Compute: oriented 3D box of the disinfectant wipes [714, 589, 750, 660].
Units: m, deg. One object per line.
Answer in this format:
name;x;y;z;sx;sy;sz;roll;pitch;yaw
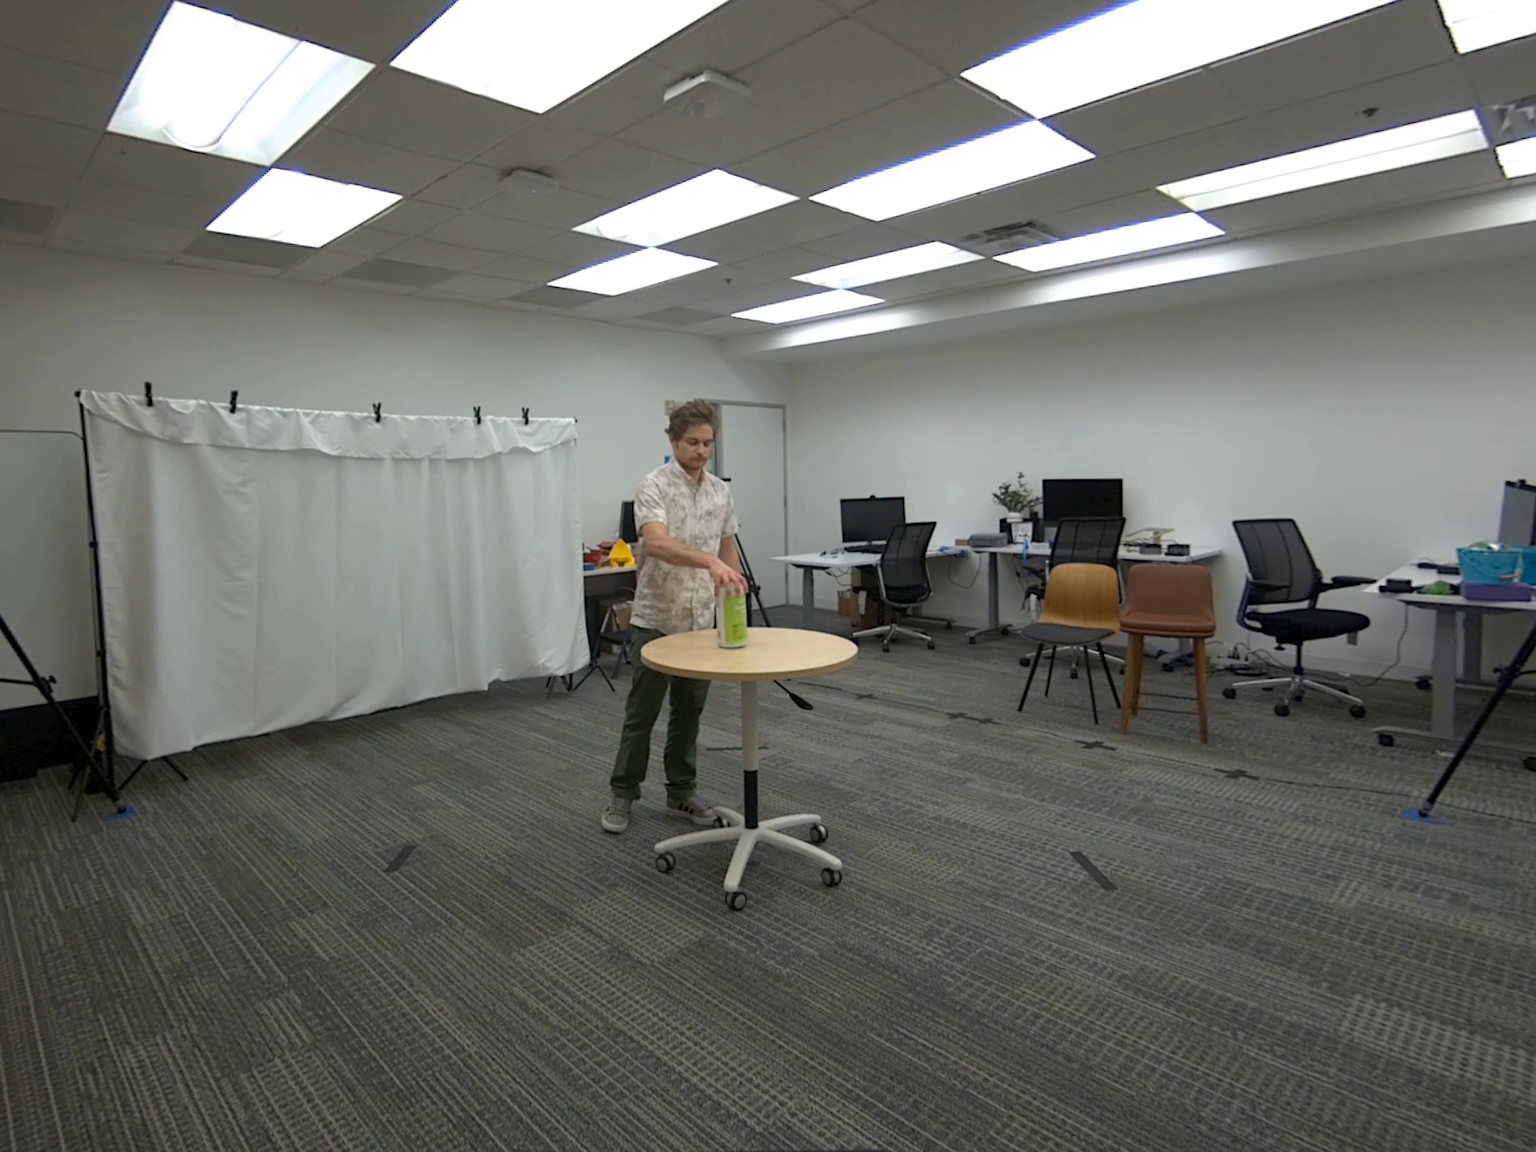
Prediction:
disinfectant wipes;-0.131;0.144;3.053;0.118;0.216;0.118;-3;6;-1
